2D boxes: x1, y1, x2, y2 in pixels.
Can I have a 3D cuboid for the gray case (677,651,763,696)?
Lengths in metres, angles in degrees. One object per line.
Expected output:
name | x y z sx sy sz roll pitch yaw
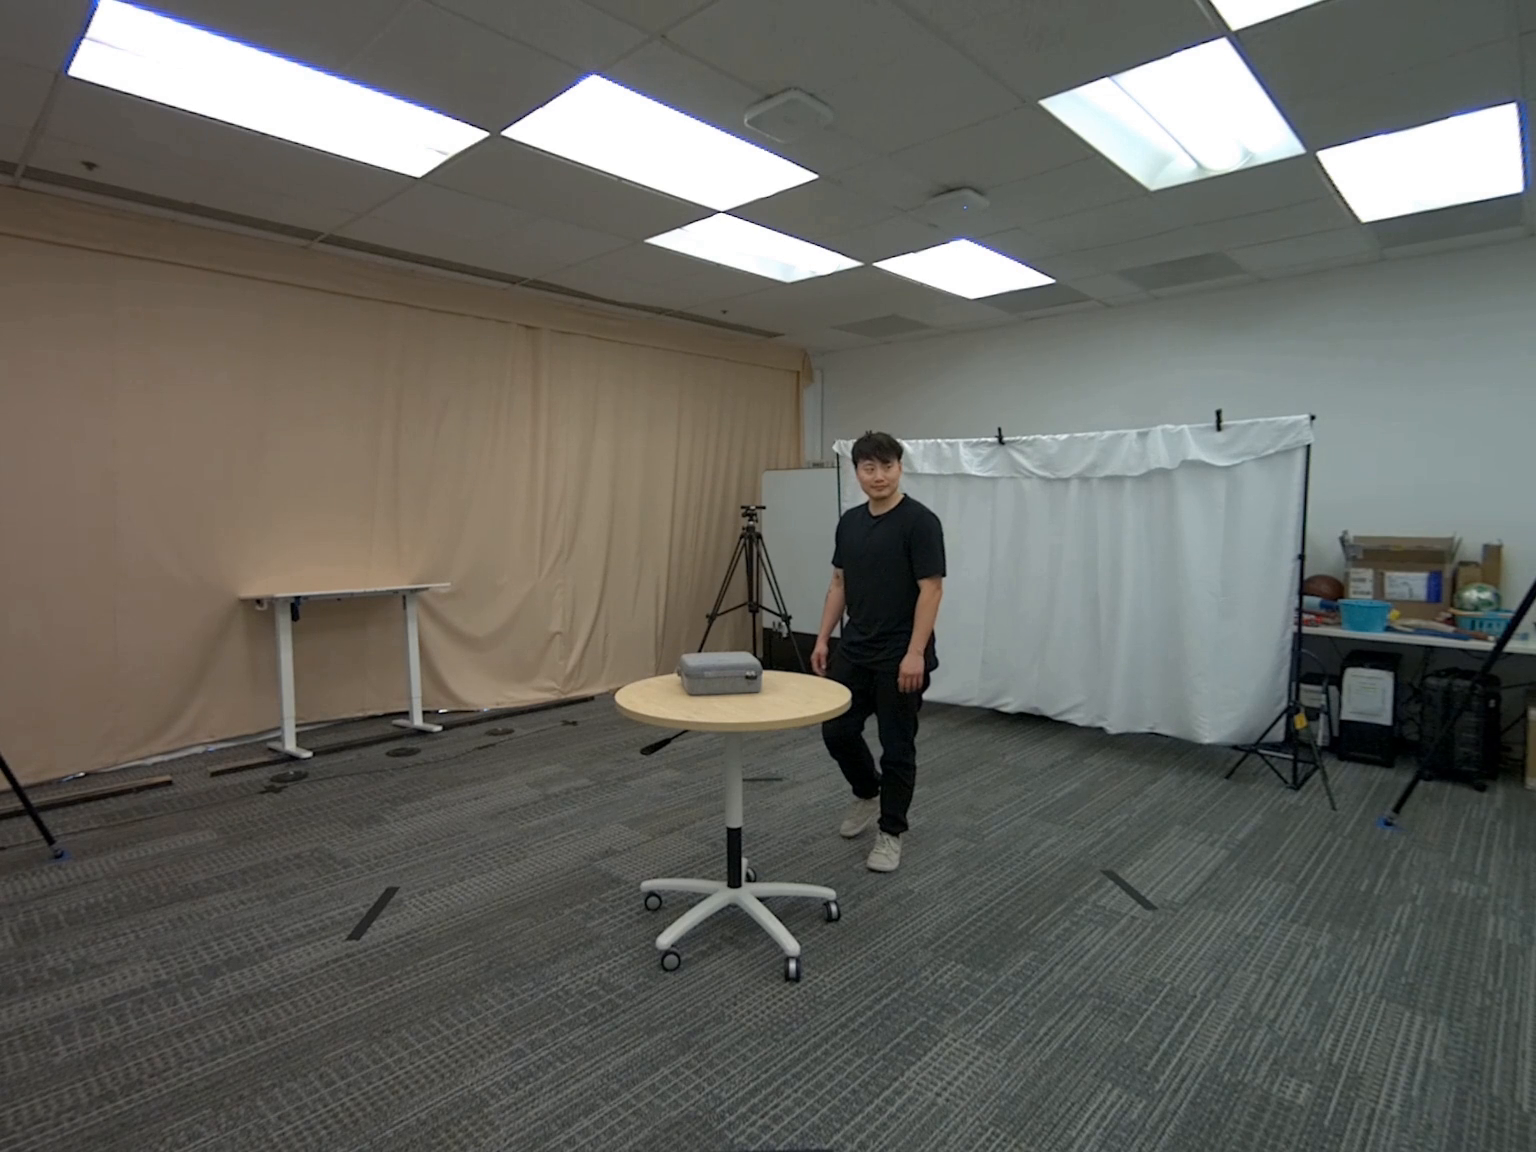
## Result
gray case | -0.163 0.323 2.835 0.254 0.104 0.264 -3 4 -9
